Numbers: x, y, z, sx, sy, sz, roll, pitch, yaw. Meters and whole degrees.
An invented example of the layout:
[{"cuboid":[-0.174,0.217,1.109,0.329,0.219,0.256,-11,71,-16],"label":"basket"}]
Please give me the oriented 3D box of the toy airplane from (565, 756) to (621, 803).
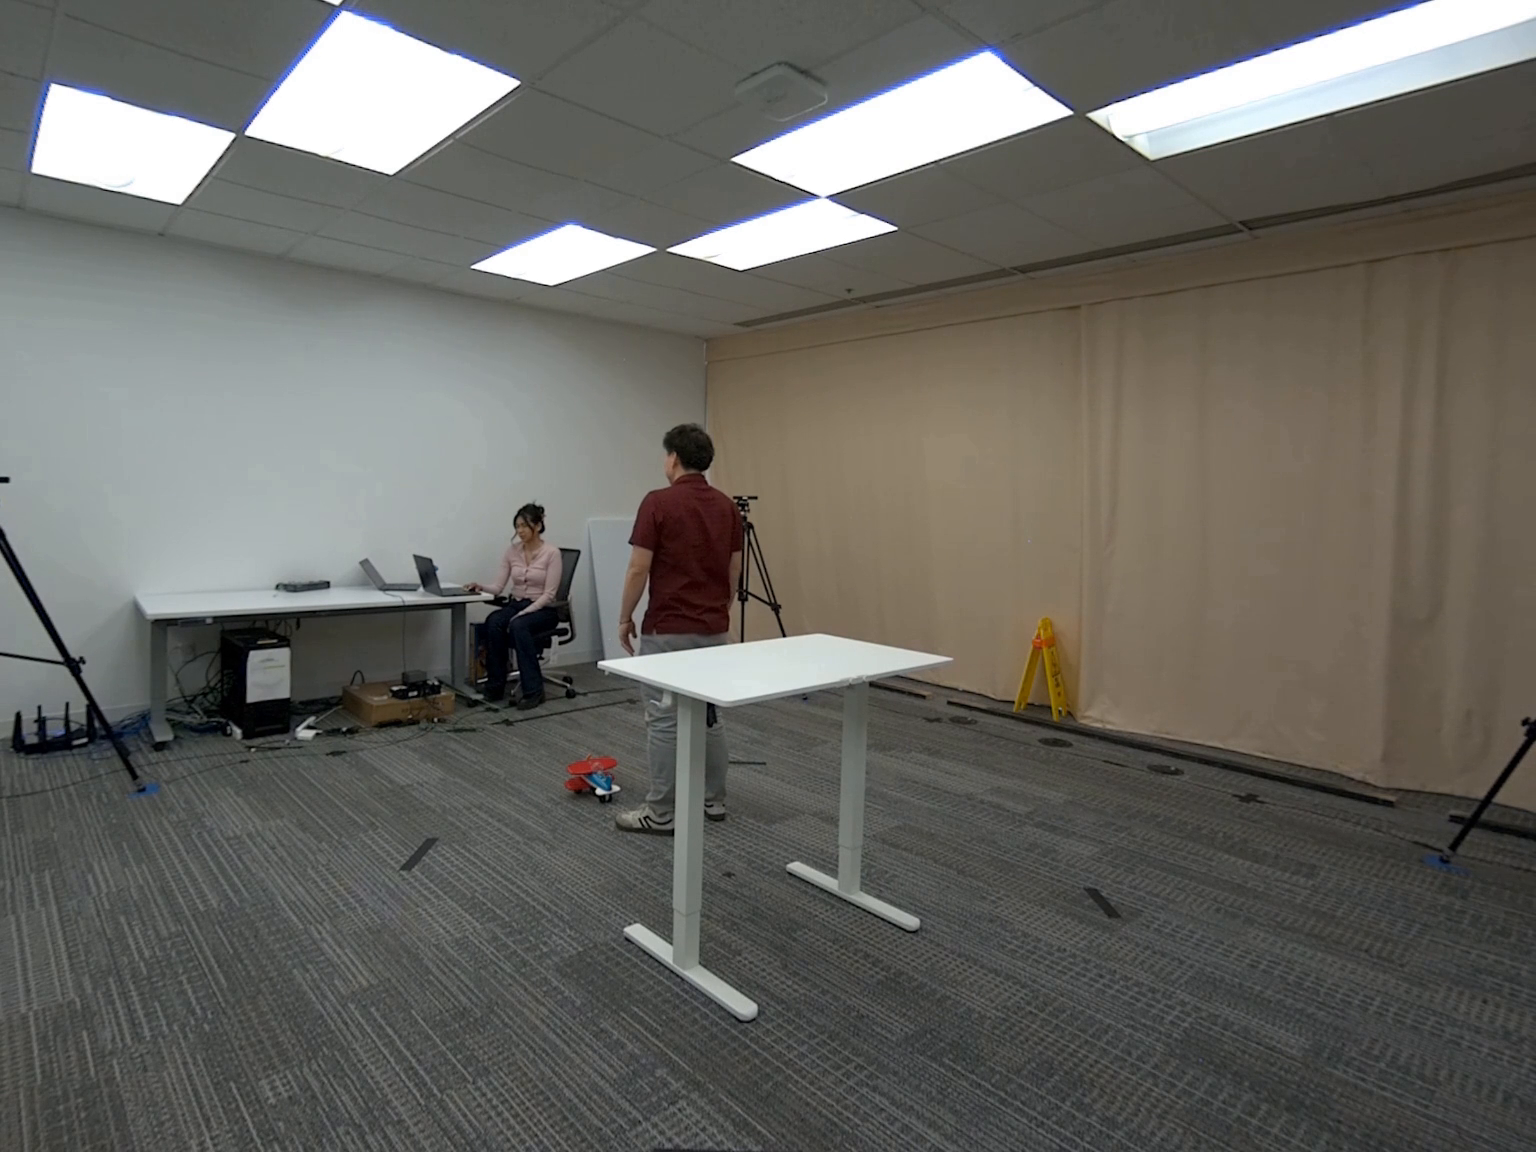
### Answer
[{"cuboid":[-0.800,0.942,3.902,0.263,0.156,0.248,1,5,18],"label":"toy airplane"}]
